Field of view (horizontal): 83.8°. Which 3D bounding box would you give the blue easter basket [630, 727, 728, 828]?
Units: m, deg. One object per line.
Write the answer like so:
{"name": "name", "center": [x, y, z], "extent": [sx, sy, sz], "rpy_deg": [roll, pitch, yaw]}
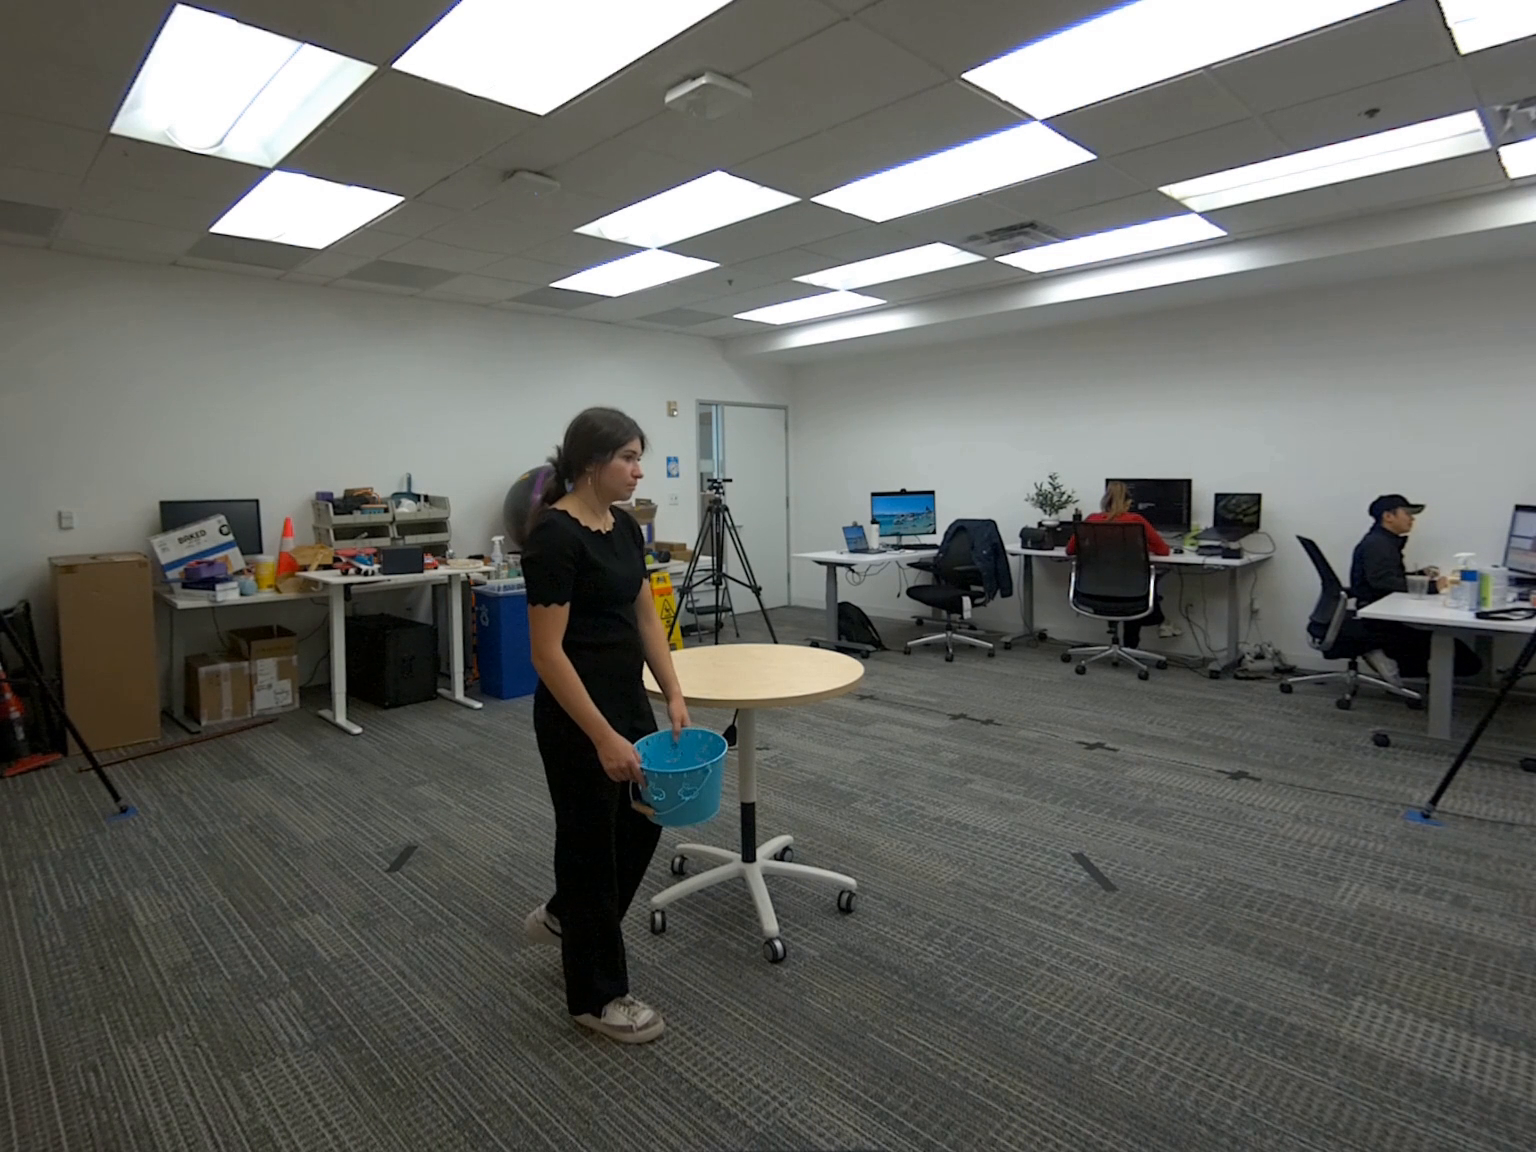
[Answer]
{"name": "blue easter basket", "center": [-0.240, 0.489, 2.035], "extent": [0.243, 0.154, 0.246], "rpy_deg": [-3, 12, -1]}
